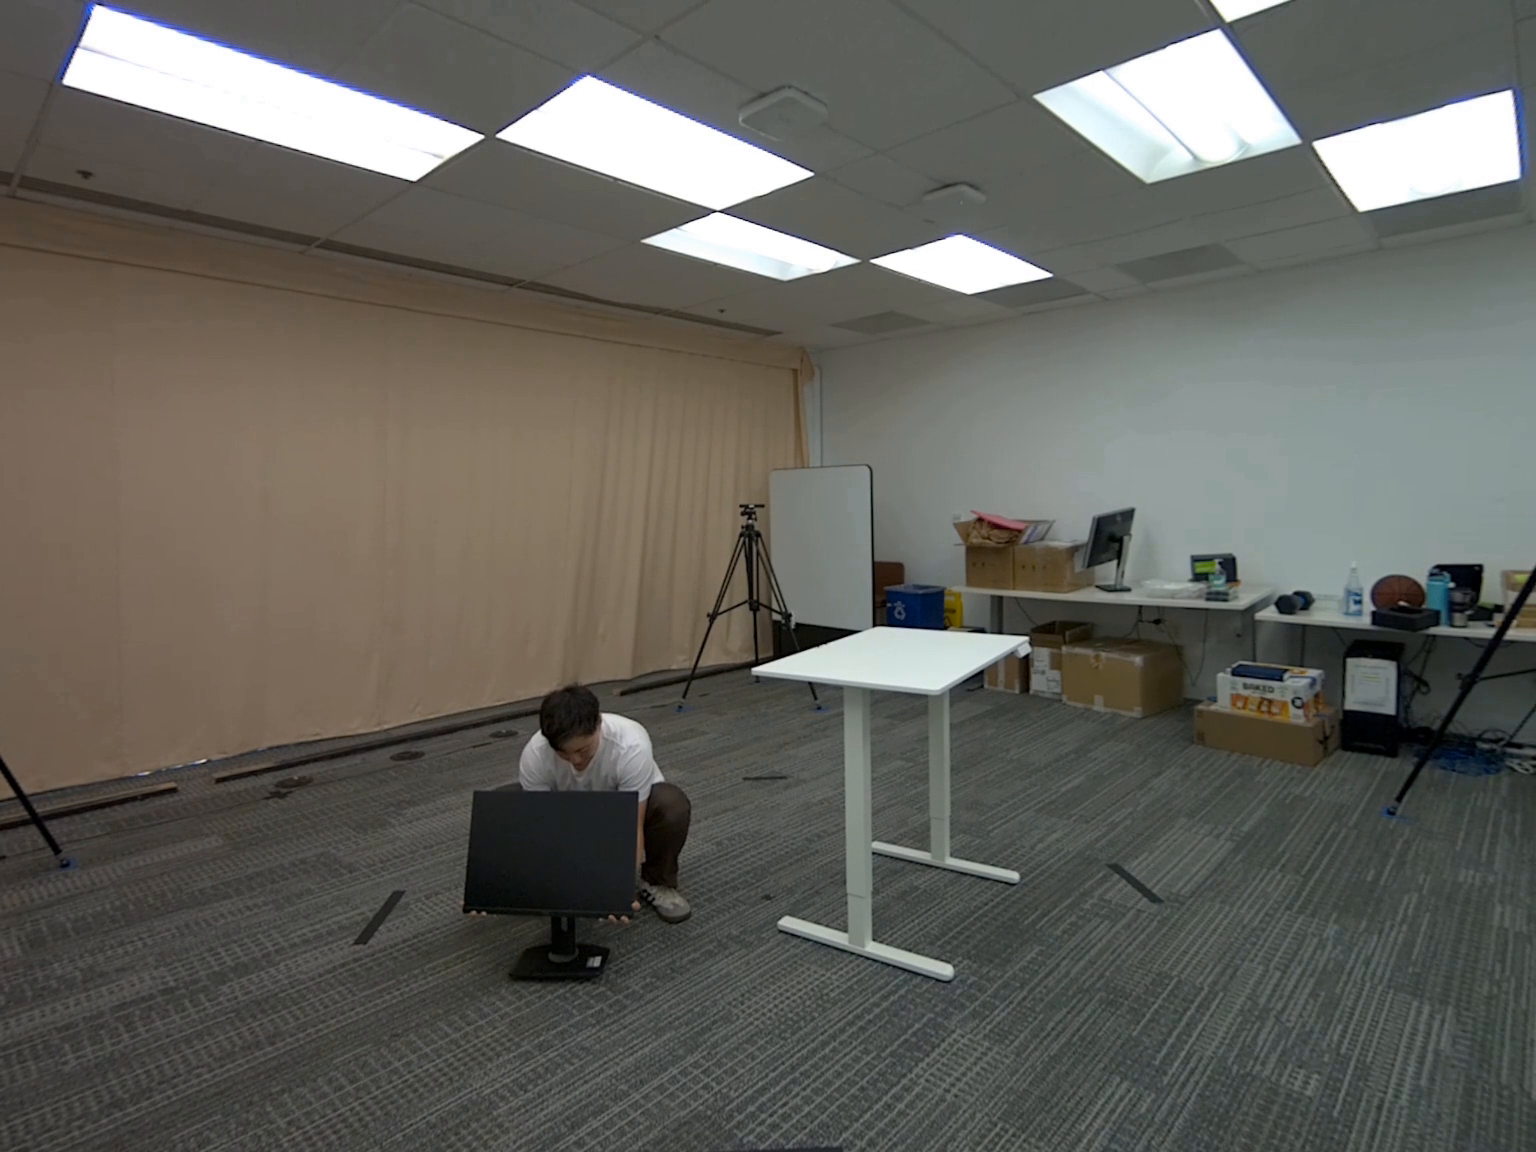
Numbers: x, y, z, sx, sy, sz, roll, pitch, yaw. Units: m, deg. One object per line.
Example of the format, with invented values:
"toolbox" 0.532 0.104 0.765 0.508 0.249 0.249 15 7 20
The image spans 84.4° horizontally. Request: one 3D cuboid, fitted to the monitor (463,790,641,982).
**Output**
"monitor" -0.642 0.915 2.547 0.544 0.522 0.185 -4 0 8
